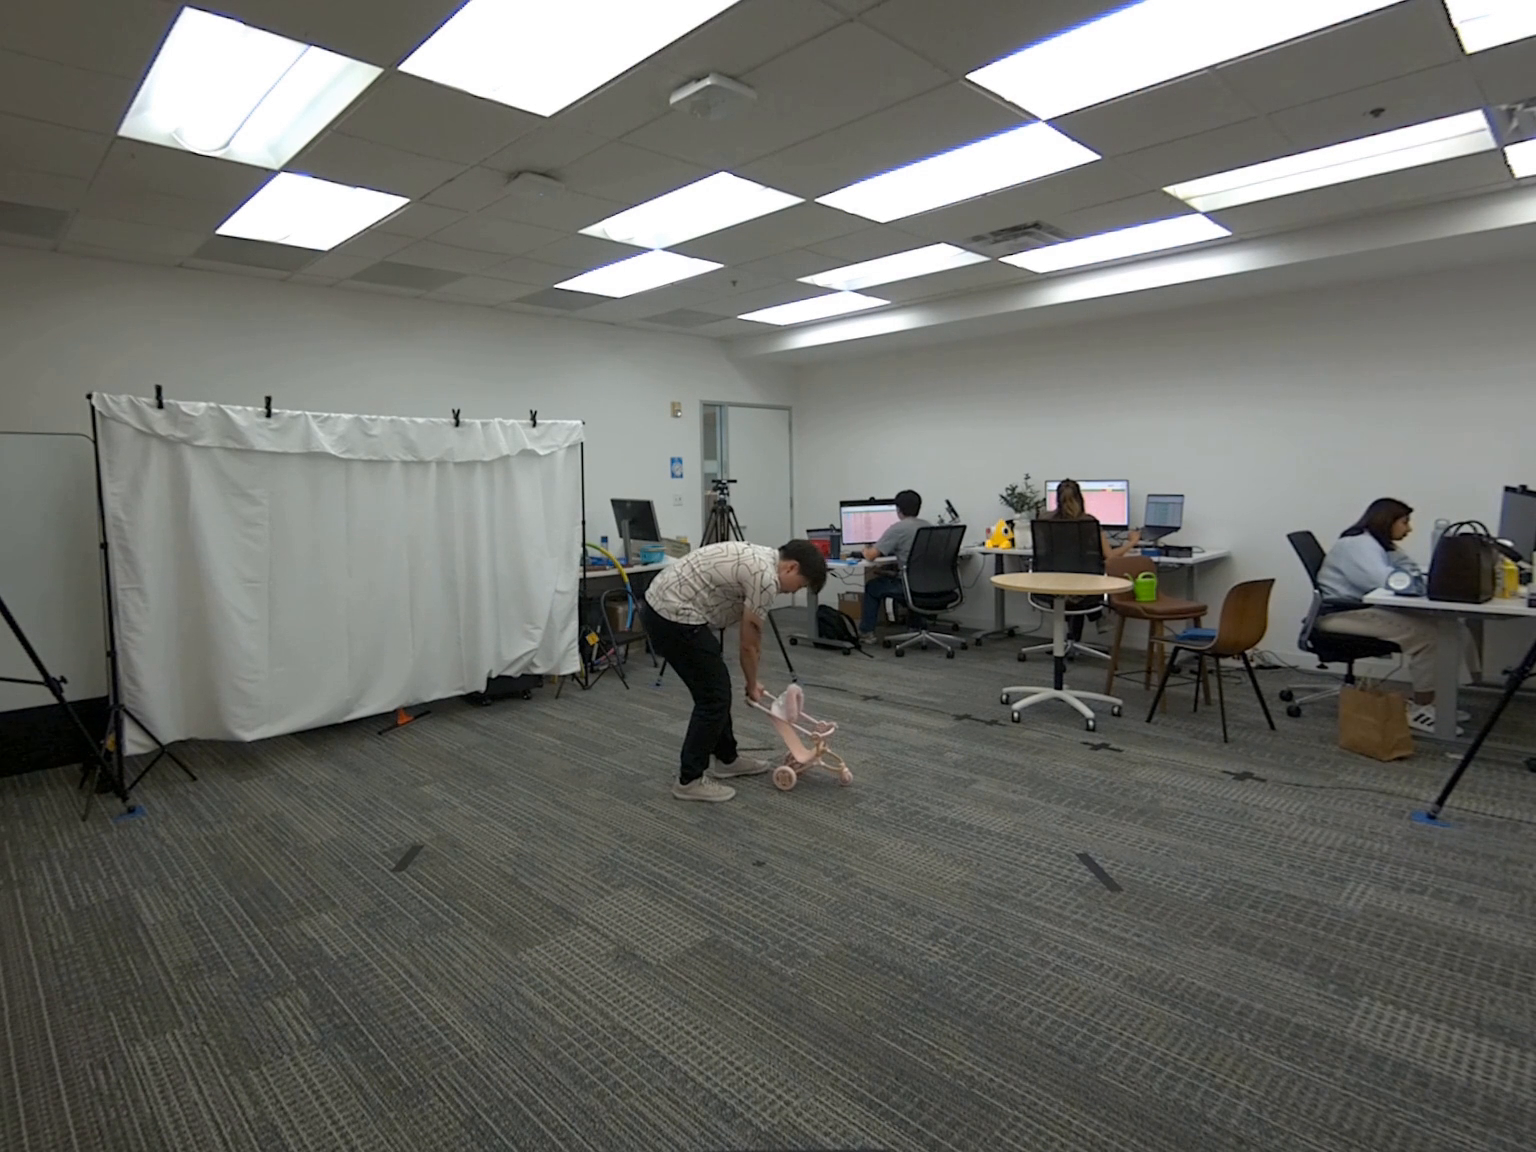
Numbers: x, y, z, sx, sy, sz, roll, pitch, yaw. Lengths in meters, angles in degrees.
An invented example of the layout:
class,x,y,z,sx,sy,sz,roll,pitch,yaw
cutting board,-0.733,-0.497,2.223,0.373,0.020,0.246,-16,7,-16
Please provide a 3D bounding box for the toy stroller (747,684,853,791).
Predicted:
class,x,y,z,sx,sy,sz,roll,pitch,yaw
toy stroller,0.151,0.728,3.921,0.345,0.537,0.277,-19,-3,19
